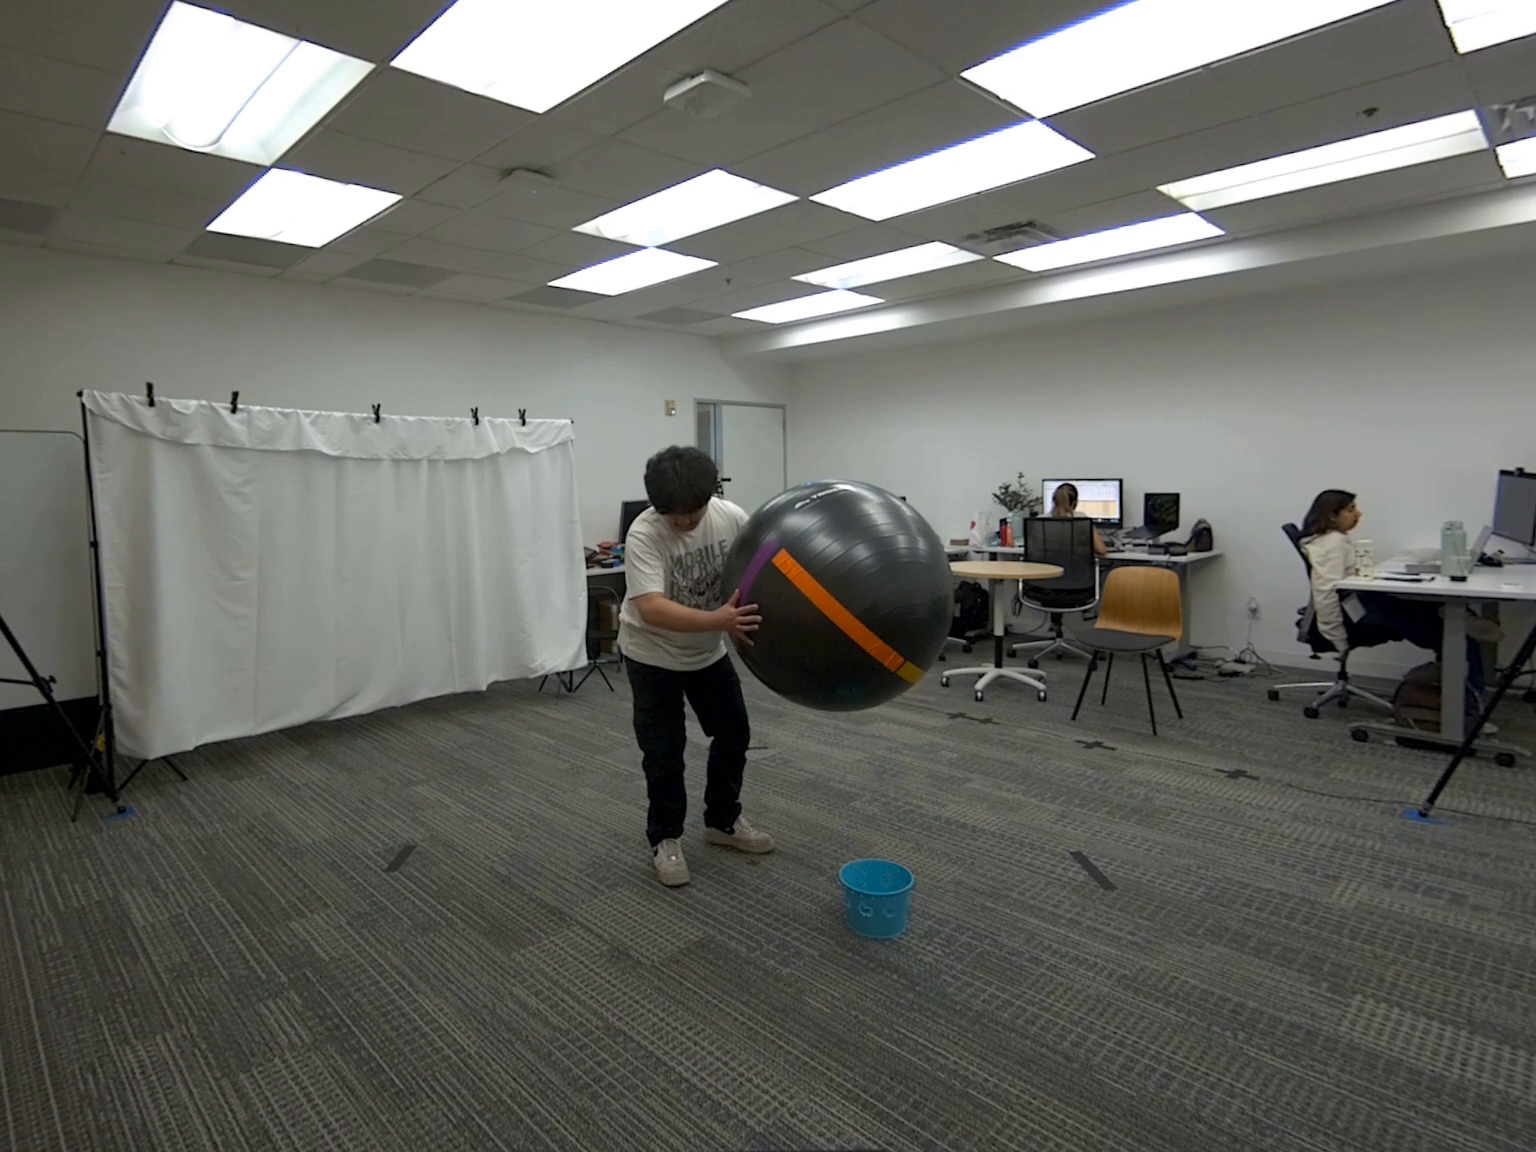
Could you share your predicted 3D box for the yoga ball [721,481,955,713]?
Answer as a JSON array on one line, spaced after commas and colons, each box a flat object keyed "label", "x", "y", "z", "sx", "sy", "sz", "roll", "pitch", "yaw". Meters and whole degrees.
[{"label": "yoga ball", "x": 0.230, "y": 0.075, "z": 2.815, "sx": 0.757, "sy": 0.755, "sz": 0.762, "roll": -1, "pitch": 5, "yaw": -2}]
